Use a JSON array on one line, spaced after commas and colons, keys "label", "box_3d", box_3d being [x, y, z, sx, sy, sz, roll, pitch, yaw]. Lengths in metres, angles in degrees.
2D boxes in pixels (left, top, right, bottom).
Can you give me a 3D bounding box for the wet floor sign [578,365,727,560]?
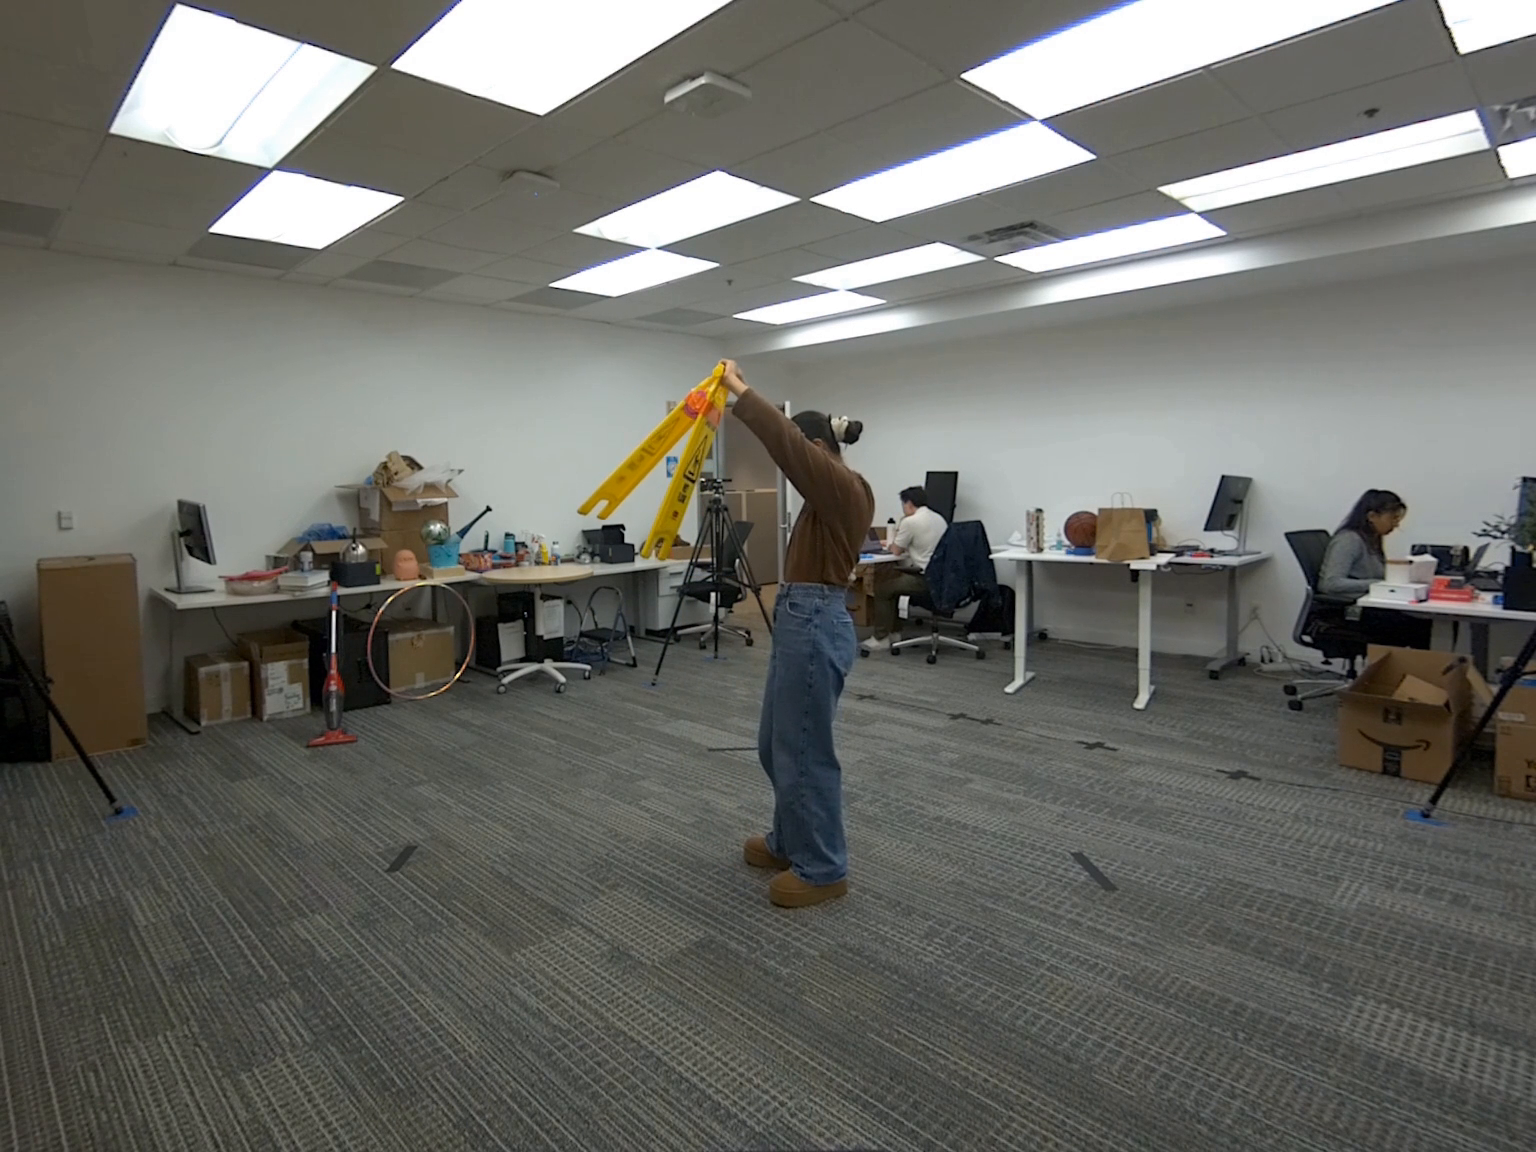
[{"label": "wet floor sign", "box_3d": [-0.307, -0.396, 2.812, 0.293, 0.646, 0.279, 32, 1, 8]}]
